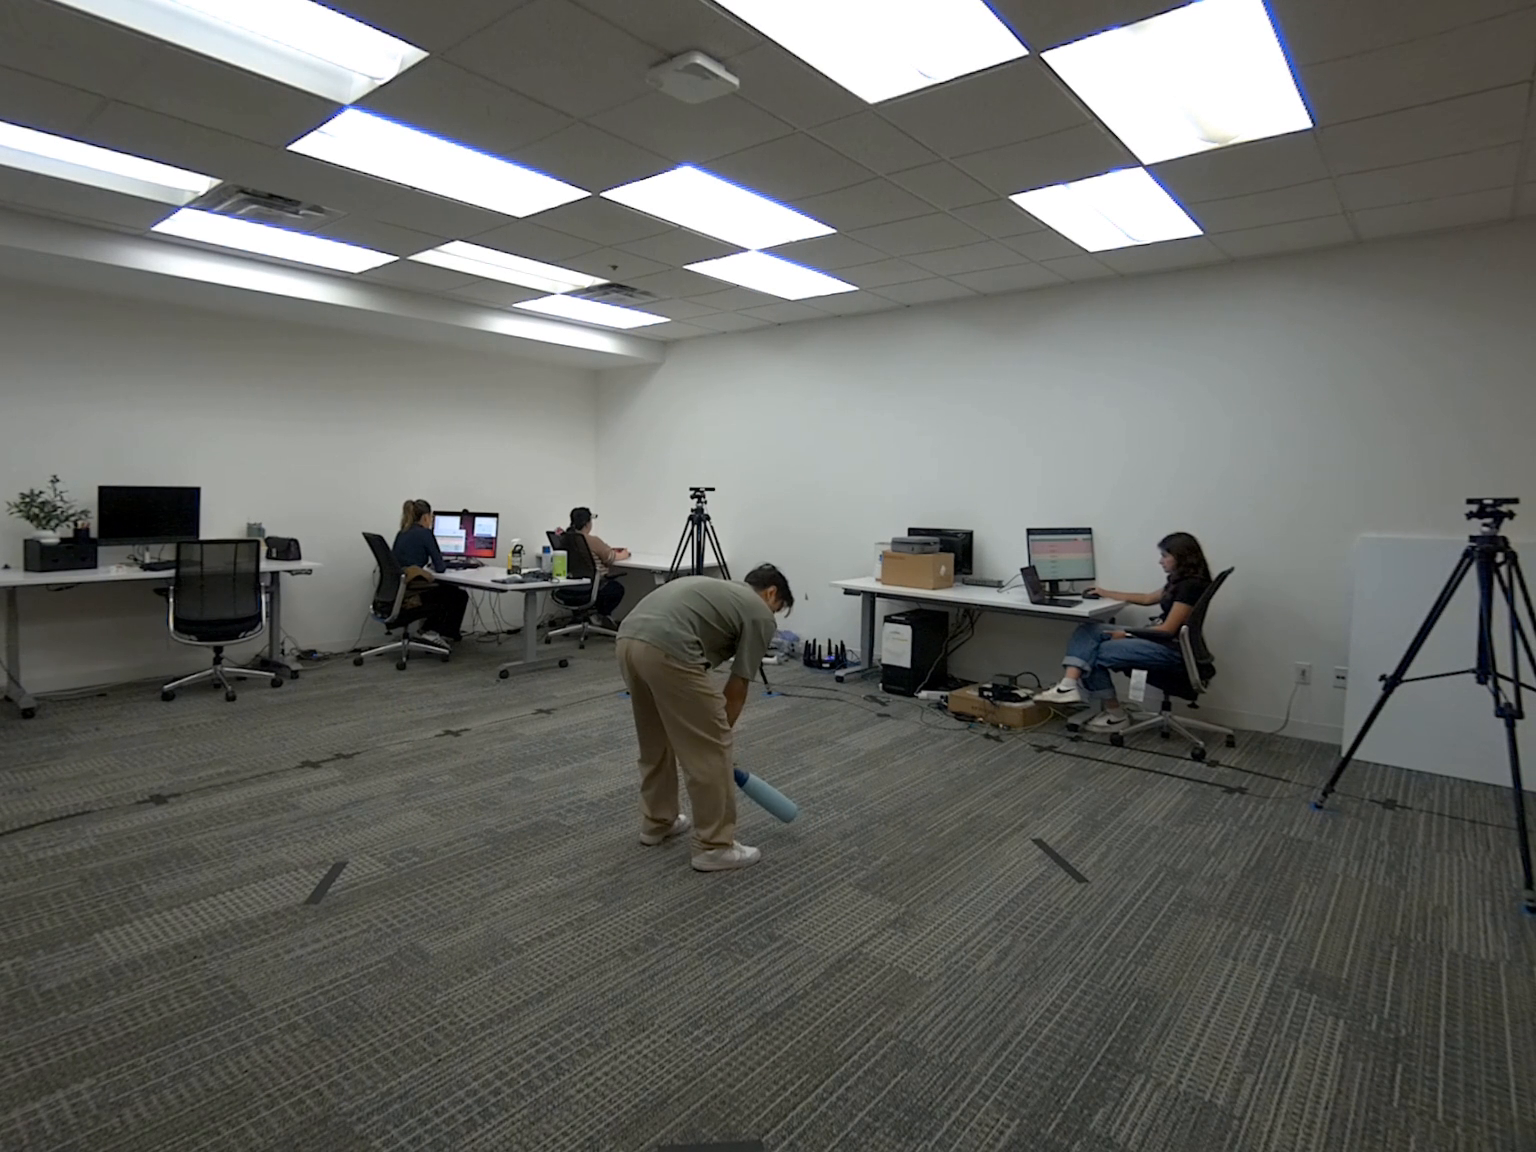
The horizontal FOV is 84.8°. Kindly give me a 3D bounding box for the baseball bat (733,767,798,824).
[{"bbox_3d":[-0.106,0.801,3.410,0.539,0.089,0.089,35,0,-5],"label":"baseball bat"}]
